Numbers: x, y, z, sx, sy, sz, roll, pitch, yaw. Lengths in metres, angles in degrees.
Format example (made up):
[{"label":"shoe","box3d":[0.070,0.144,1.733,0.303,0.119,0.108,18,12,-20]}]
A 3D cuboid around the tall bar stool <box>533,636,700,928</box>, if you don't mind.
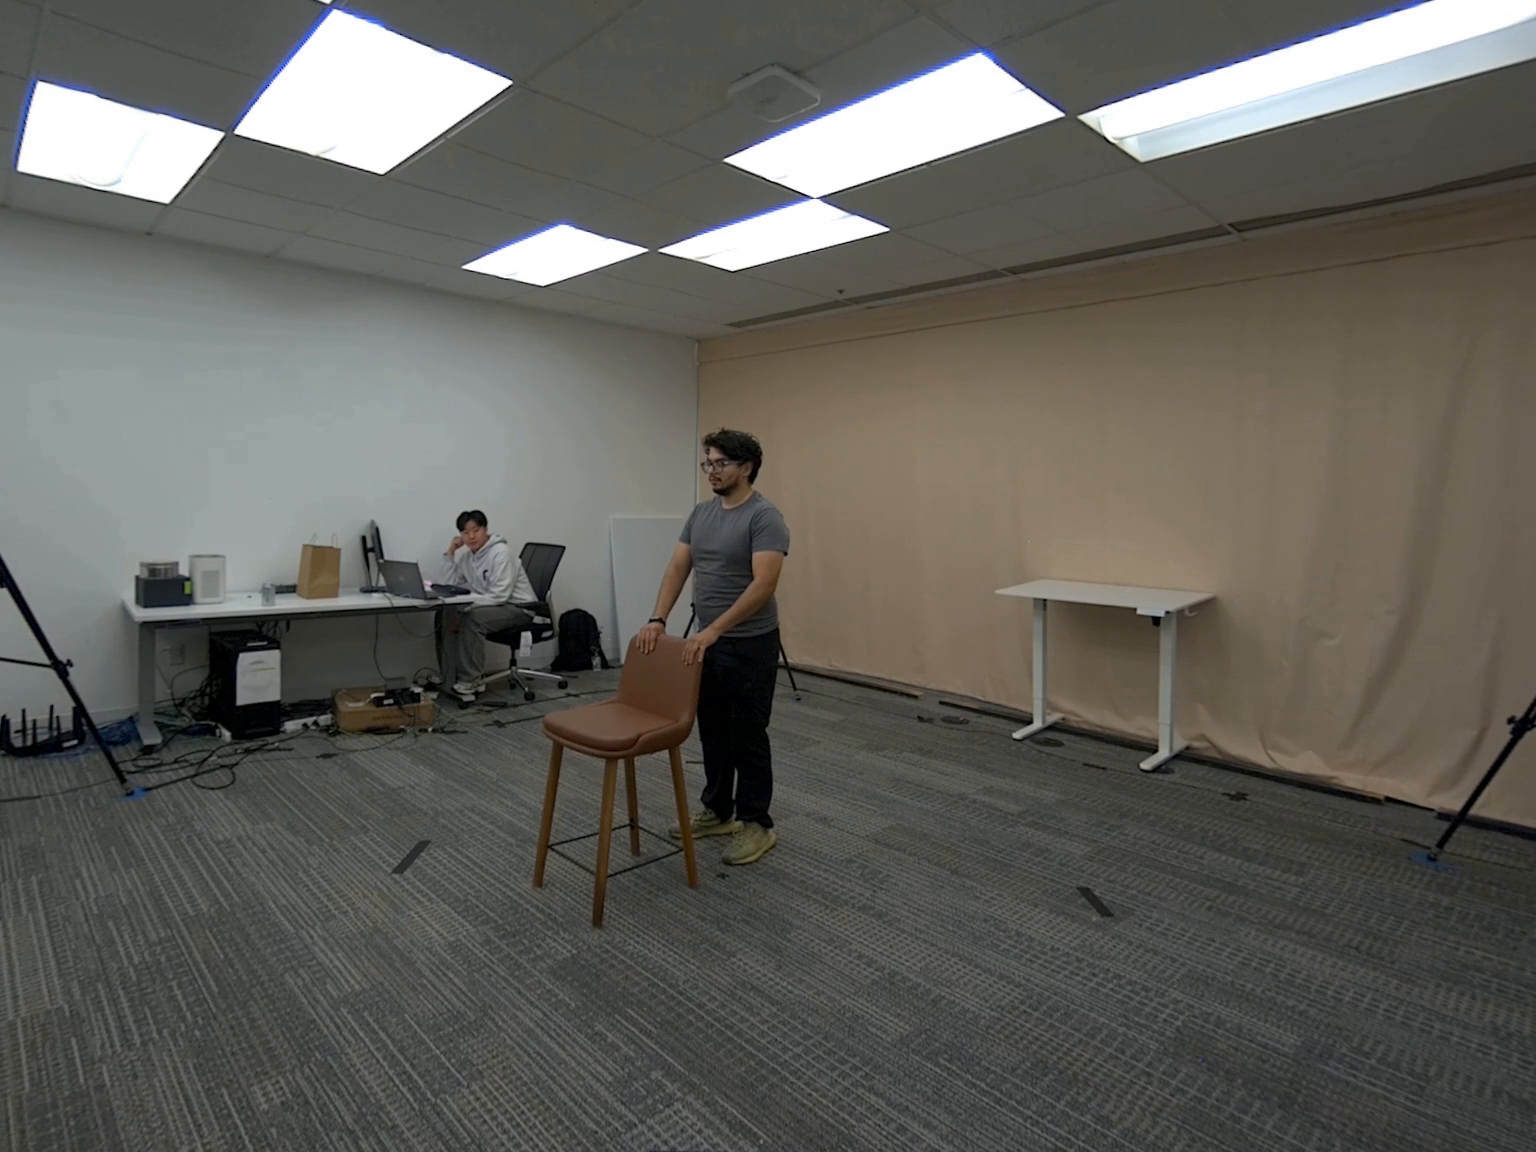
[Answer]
[{"label":"tall bar stool","box3d":[-0.524,0.671,2.983,0.456,0.888,0.468,1,3,-44]}]
